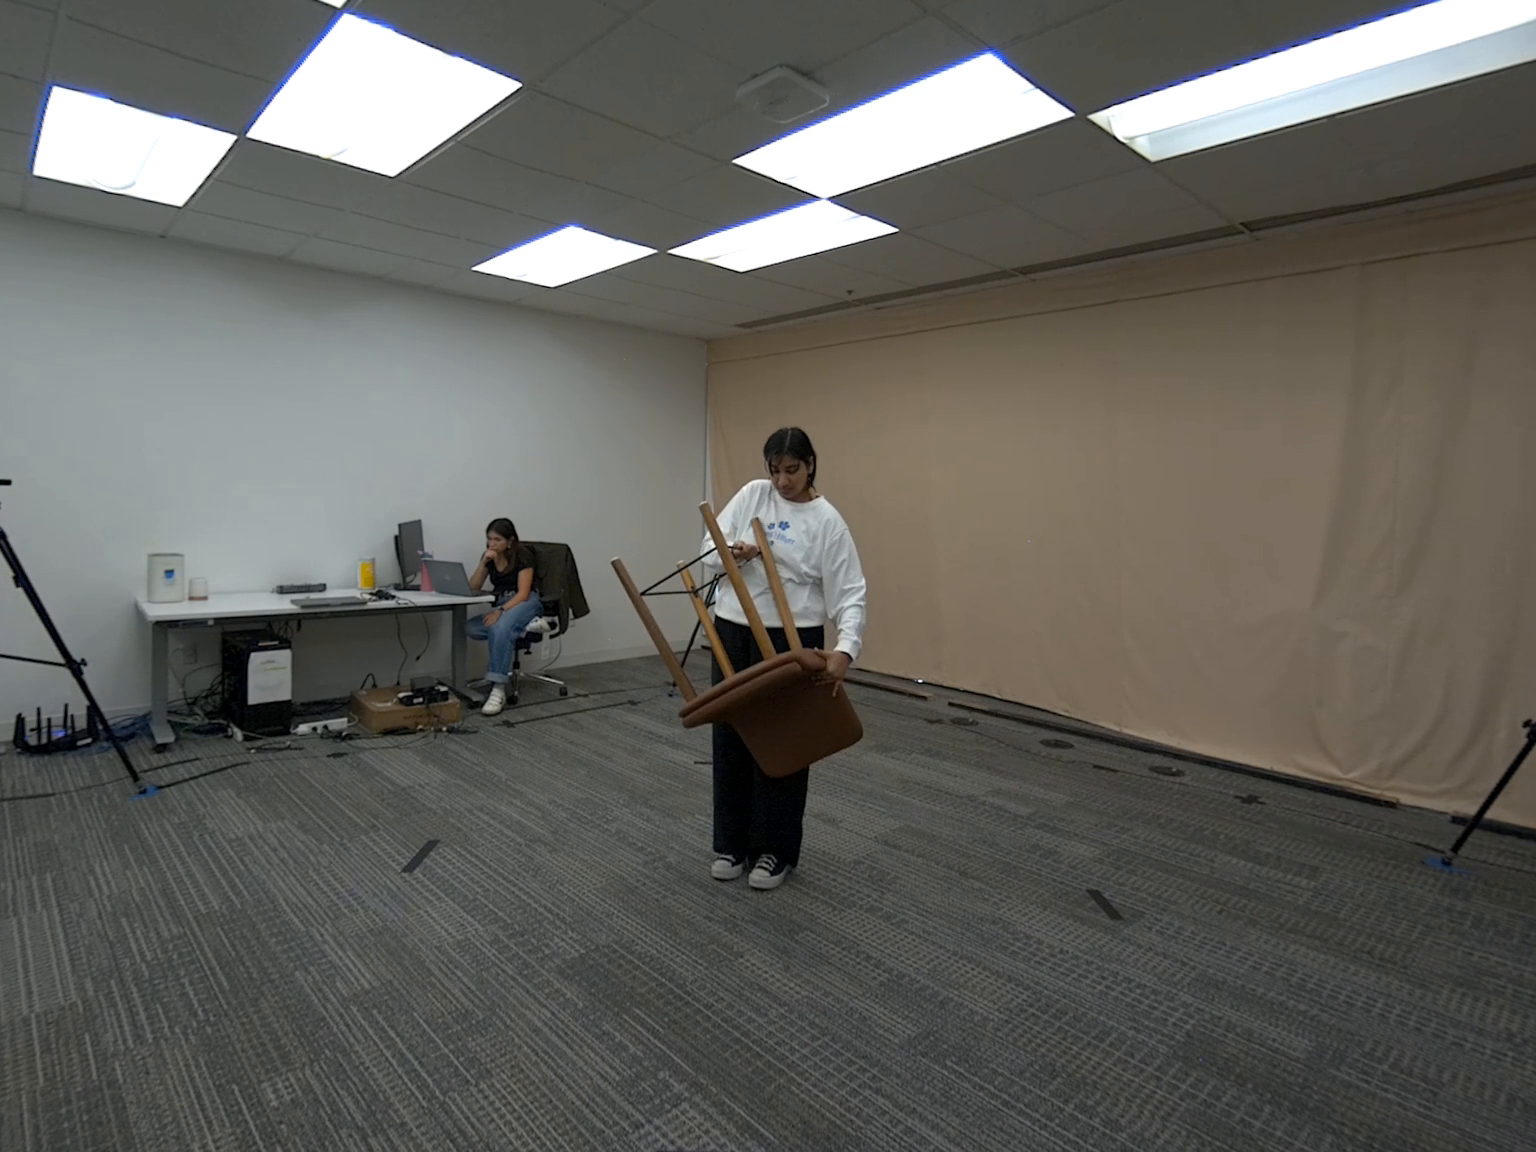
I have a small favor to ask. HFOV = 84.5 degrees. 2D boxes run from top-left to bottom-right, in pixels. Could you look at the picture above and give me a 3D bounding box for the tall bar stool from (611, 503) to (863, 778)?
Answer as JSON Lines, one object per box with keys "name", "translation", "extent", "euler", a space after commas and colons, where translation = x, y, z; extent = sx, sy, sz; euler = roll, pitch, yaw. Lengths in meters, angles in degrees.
{"name": "tall bar stool", "translation": [-0.097, 0.255, 2.834], "extent": [0.459, 0.902, 0.458], "euler": [-31, -14, 21]}
